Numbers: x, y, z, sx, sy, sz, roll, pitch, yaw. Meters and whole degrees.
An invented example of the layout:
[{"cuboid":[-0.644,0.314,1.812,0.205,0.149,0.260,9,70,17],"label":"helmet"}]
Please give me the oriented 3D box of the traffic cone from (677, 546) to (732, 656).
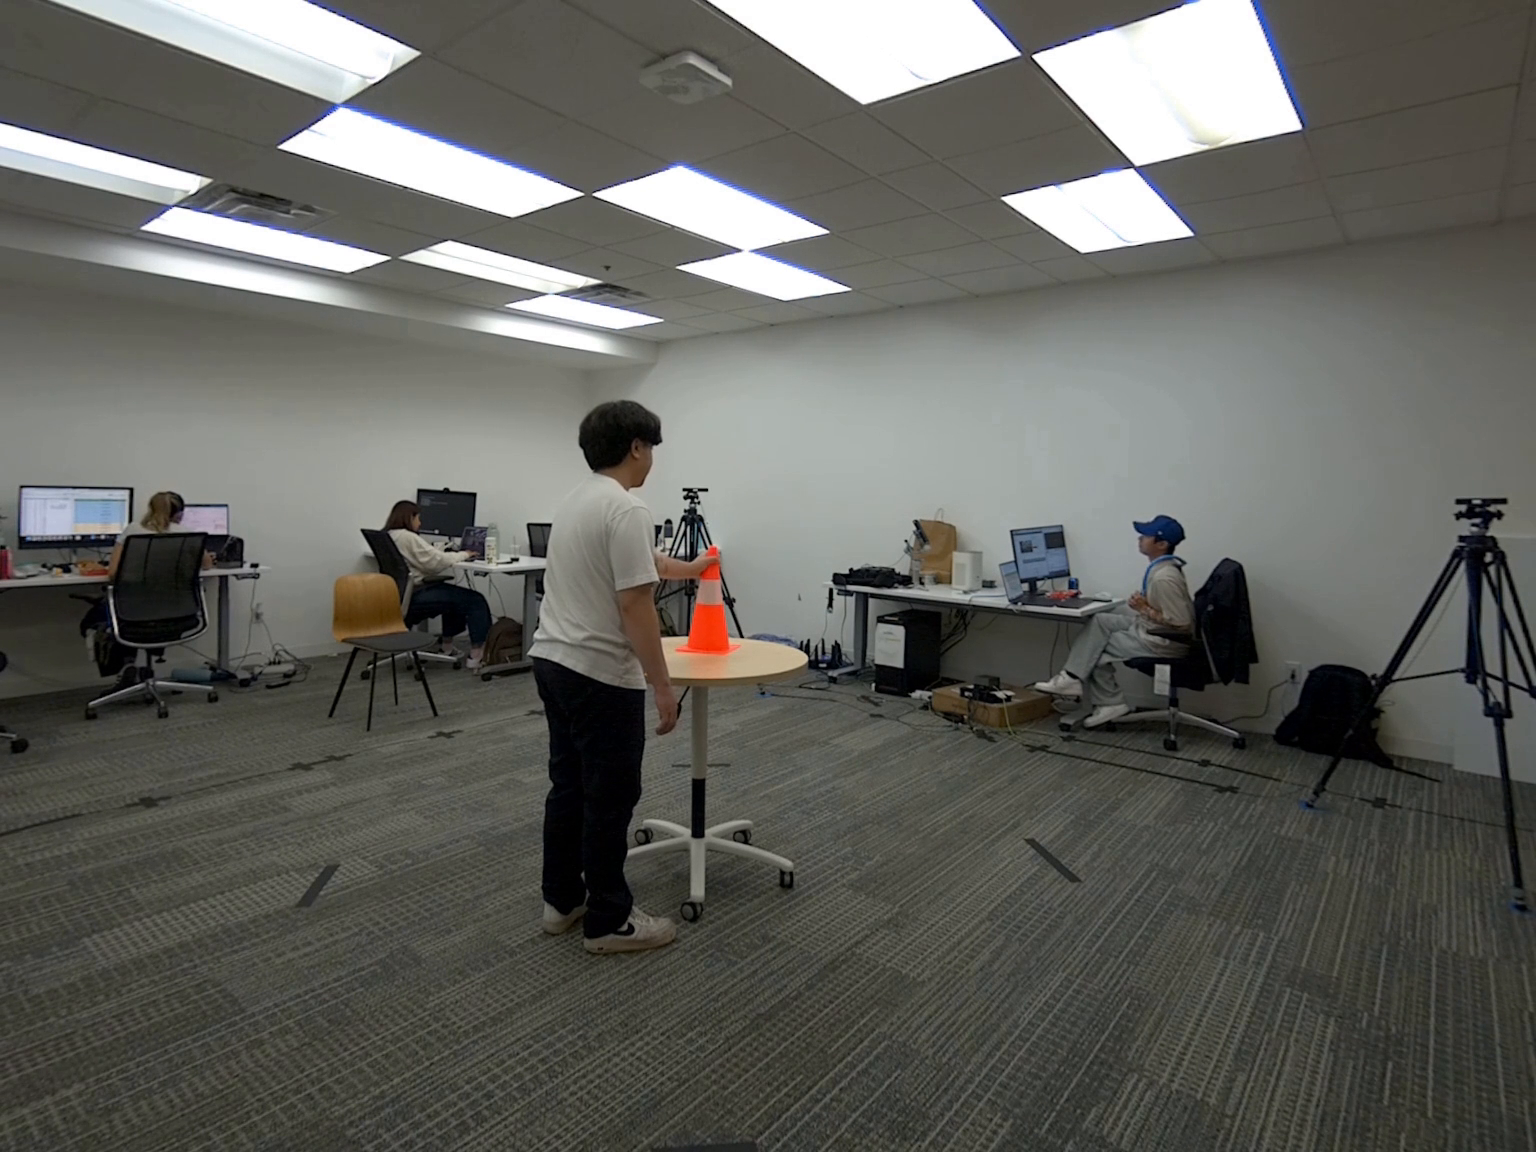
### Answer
[{"cuboid":[-0.224,0.079,3.155,0.209,0.382,0.200,4,5,16],"label":"traffic cone"}]
